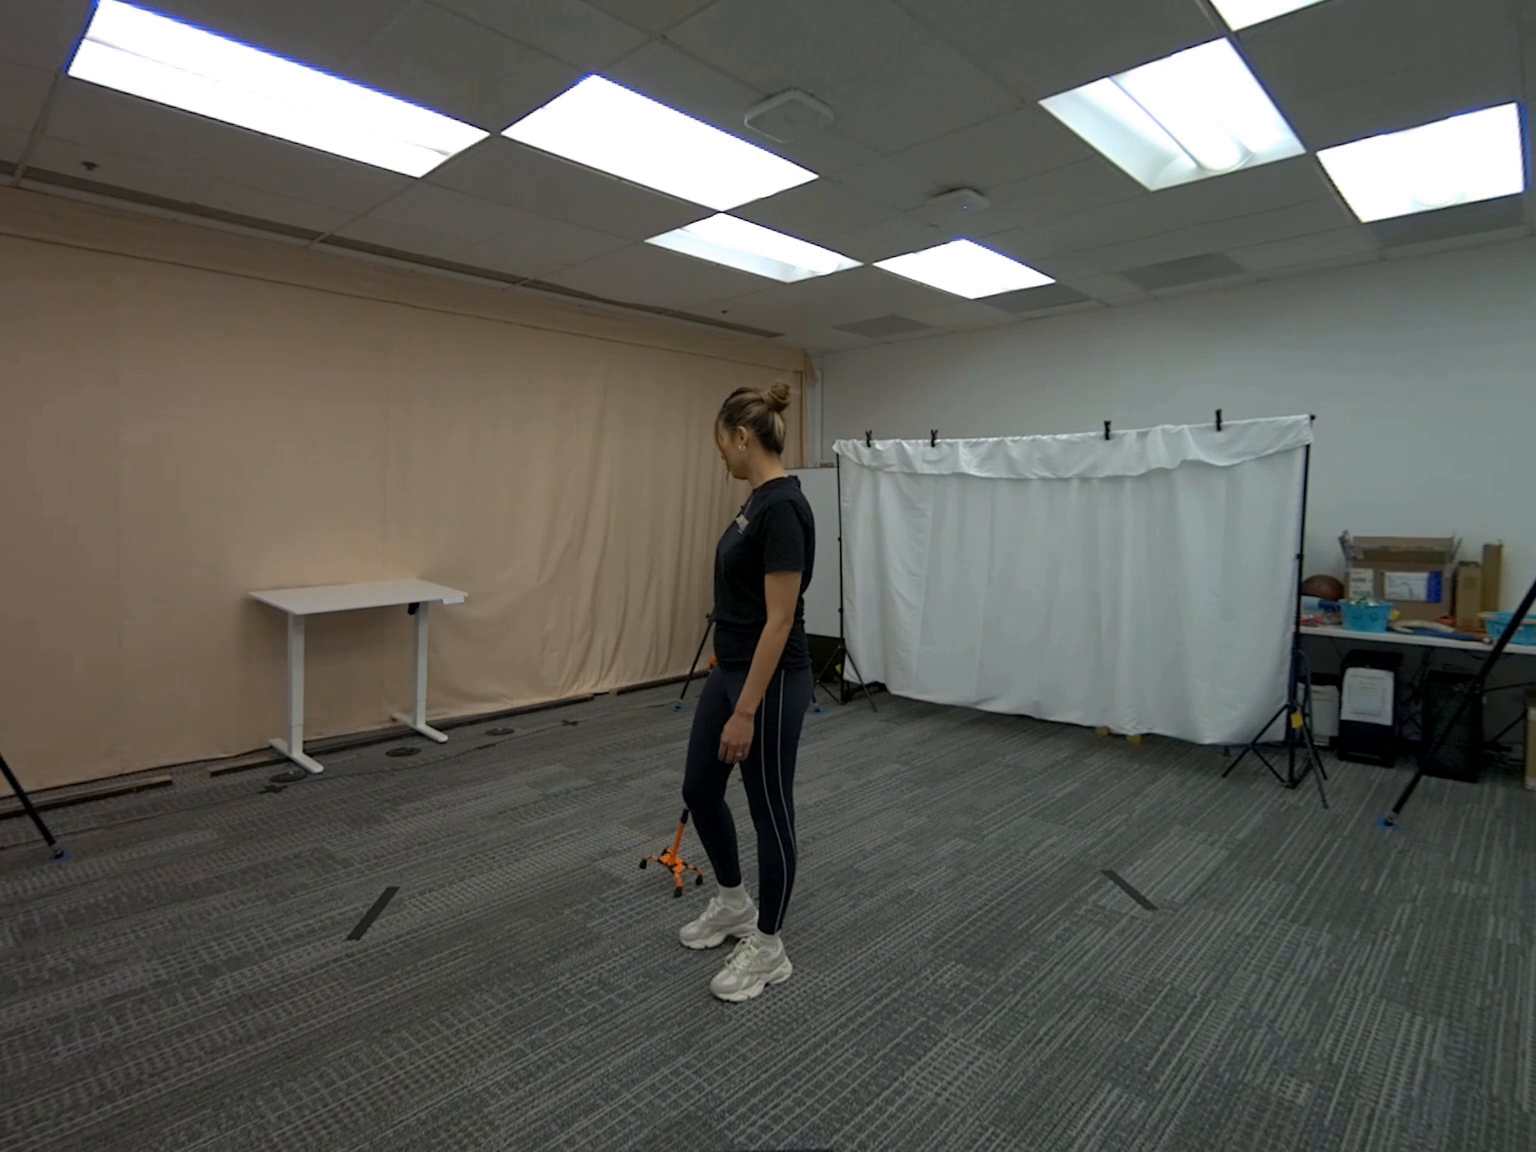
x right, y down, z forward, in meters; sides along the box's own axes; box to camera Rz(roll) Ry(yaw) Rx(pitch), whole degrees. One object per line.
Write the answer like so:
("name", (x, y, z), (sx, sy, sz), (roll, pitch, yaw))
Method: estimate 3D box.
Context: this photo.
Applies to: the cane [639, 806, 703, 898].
("cane", (-0.254, 0.686, 2.996), (0.214, 0.903, 0.147), (24, 17, 35))
